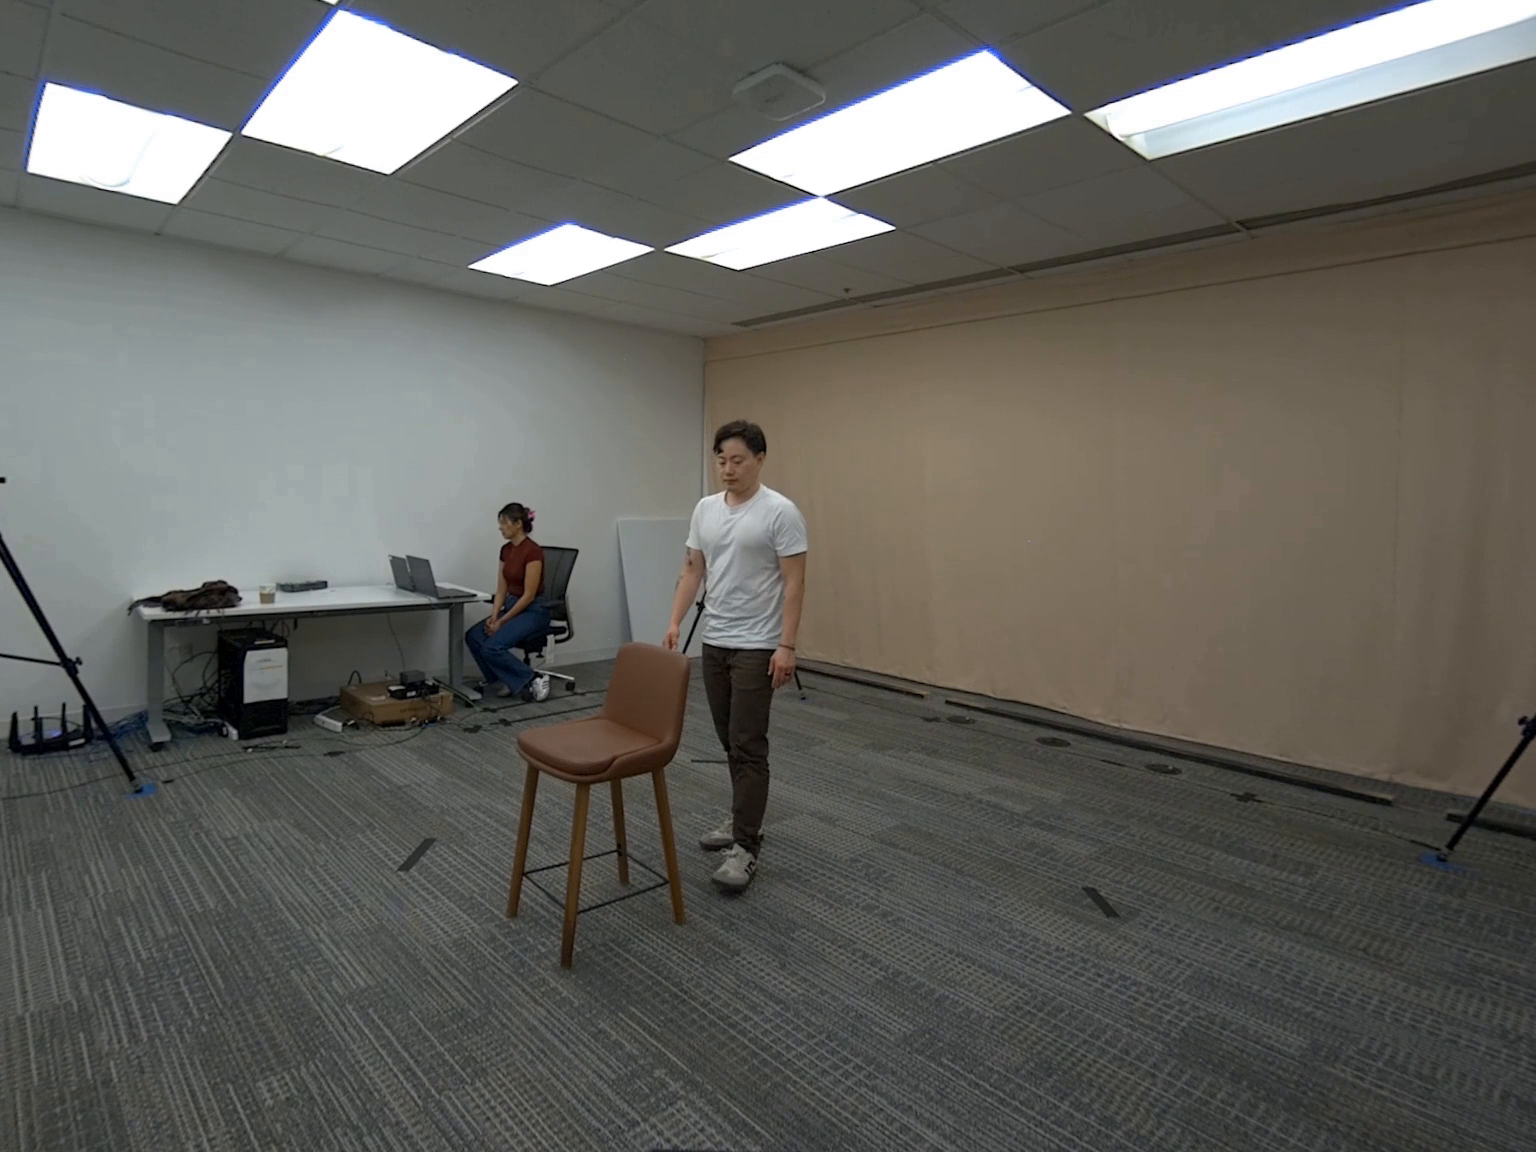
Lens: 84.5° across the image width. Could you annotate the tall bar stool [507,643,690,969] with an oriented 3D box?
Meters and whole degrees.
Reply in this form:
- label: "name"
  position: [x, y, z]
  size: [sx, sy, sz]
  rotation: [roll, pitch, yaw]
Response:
- label: "tall bar stool"
  position: [-0.551, 0.695, 2.729]
  size: [0.456, 0.888, 0.468]
  rotation: [1, 3, -40]
